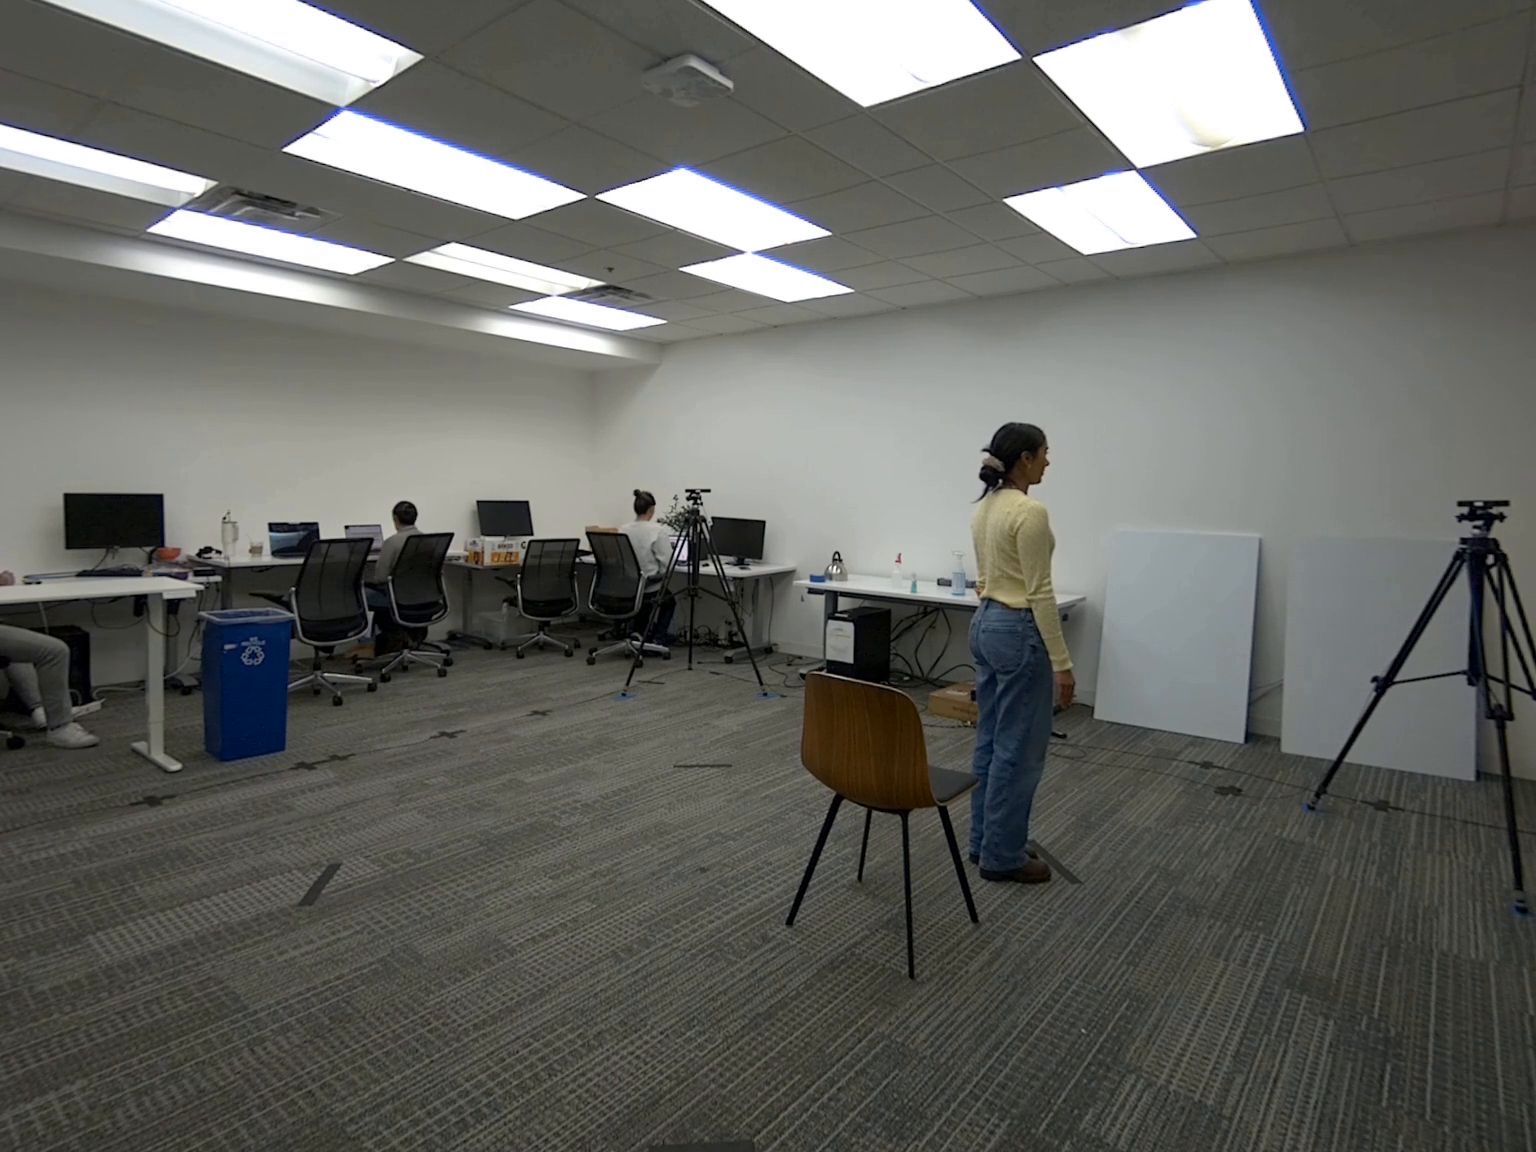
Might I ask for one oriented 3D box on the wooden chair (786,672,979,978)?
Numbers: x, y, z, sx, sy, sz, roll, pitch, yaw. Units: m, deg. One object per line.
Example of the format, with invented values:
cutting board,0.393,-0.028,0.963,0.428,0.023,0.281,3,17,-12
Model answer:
wooden chair,0.380,0.696,2.731,0.494,0.872,0.509,4,8,38
